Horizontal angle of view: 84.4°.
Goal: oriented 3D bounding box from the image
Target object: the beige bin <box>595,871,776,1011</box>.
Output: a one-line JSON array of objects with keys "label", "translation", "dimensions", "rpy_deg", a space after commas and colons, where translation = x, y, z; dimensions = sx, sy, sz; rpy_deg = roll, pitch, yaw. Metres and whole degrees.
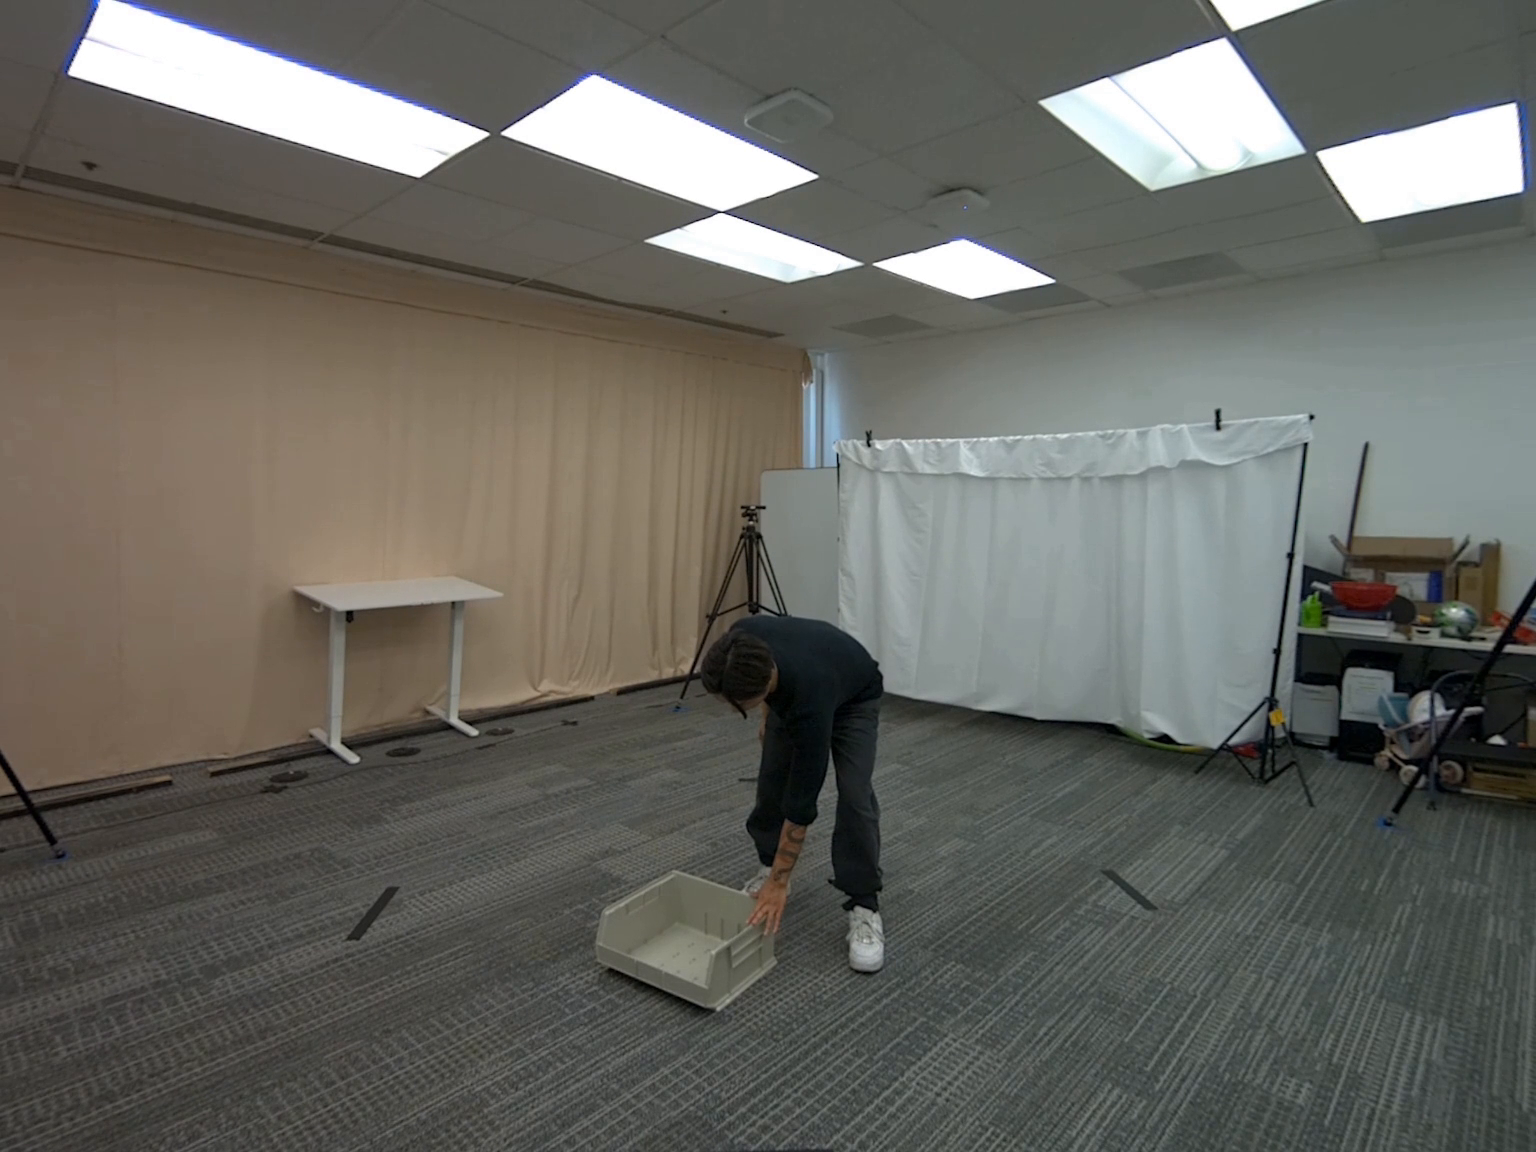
[{"label": "beige bin", "translation": [-0.240, 1.097, 2.537], "dimensions": [0.435, 0.188, 0.366], "rpy_deg": [2, 4, 34]}]
